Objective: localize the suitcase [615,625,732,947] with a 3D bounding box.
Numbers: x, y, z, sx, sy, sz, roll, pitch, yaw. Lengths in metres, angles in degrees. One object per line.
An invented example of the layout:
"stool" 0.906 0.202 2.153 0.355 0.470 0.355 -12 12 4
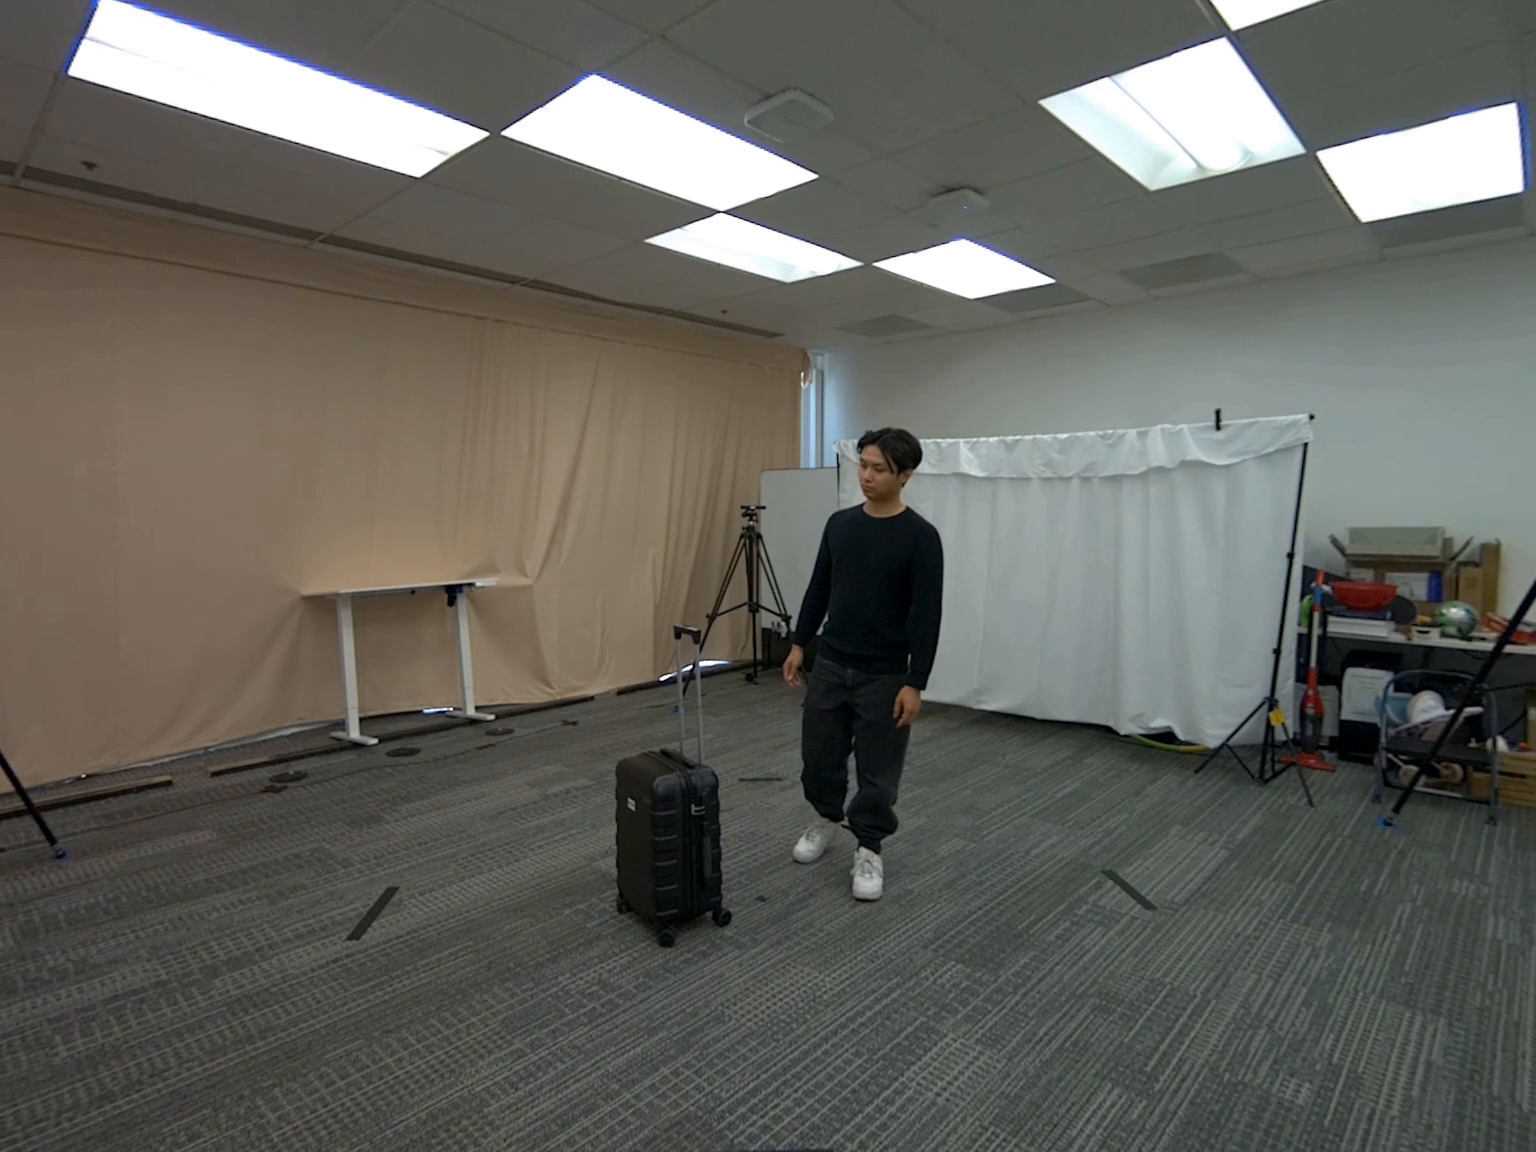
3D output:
"suitcase" -0.349 0.683 2.824 0.250 0.977 0.395 -4 3 -33
